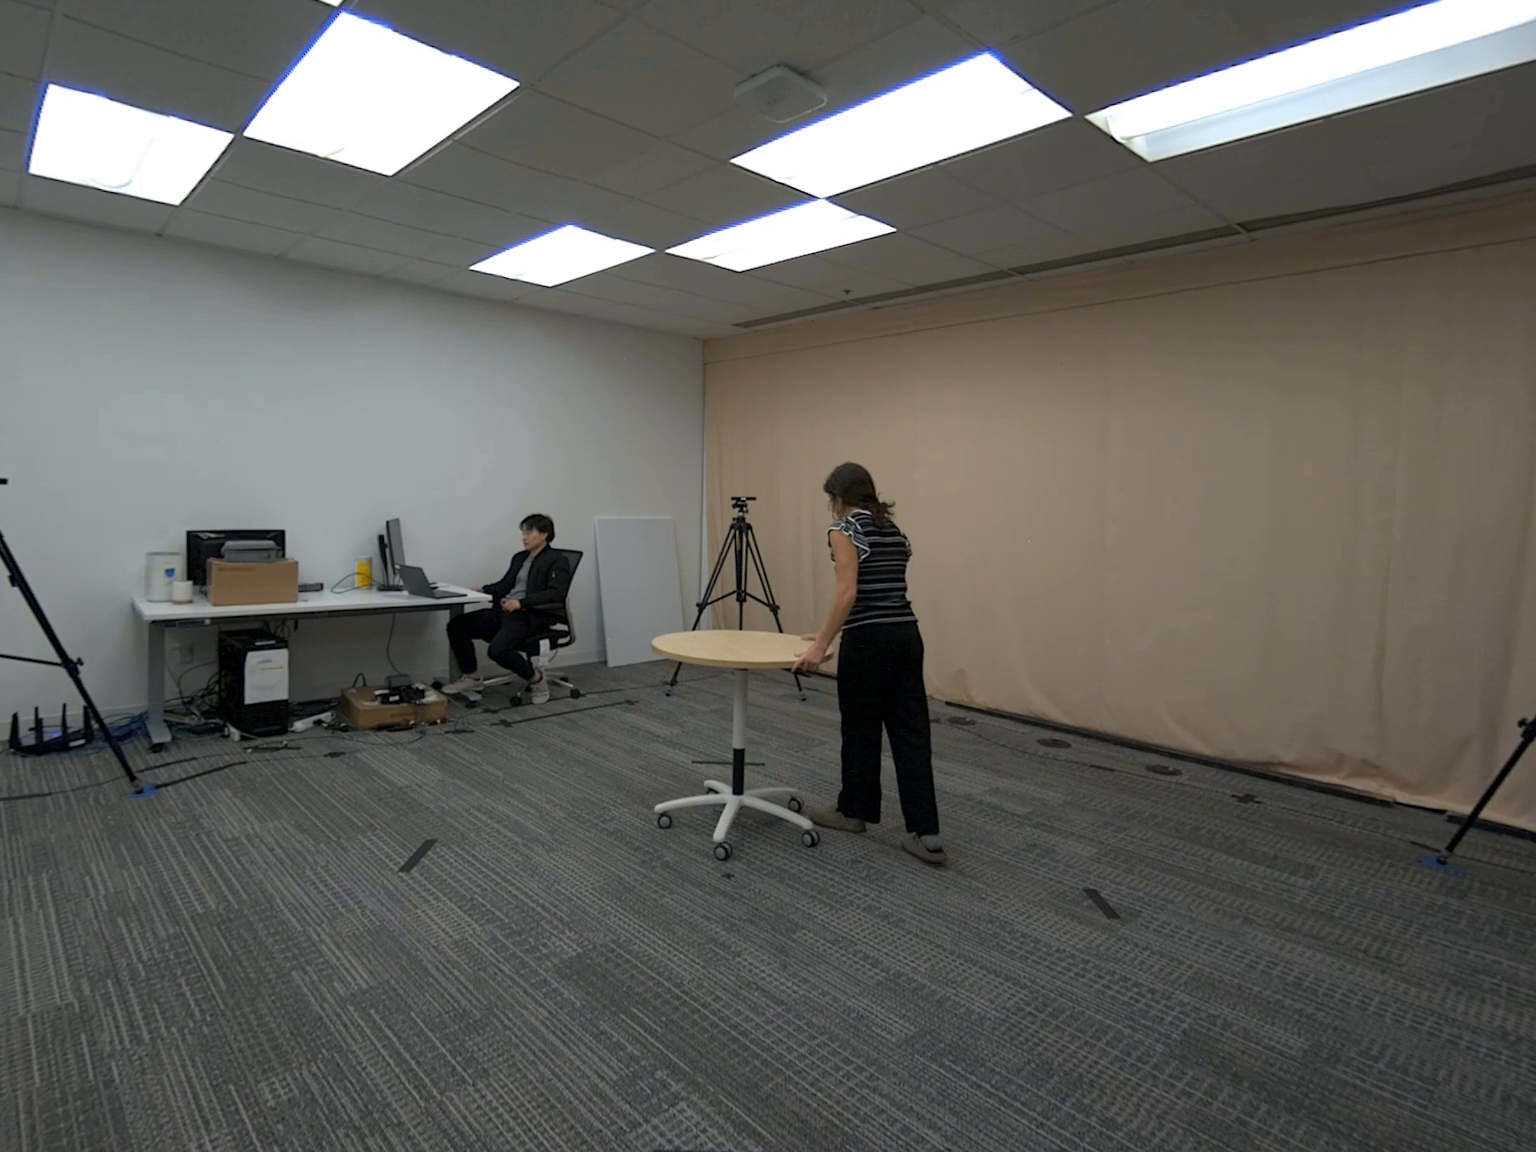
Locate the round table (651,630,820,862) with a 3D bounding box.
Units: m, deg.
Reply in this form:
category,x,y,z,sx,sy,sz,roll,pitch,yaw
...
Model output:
category,x,y,z,sx,sy,sz,roll,pitch,yaw
round table,-0.128,0.679,3.557,0.763,0.792,0.766,2,4,-1
